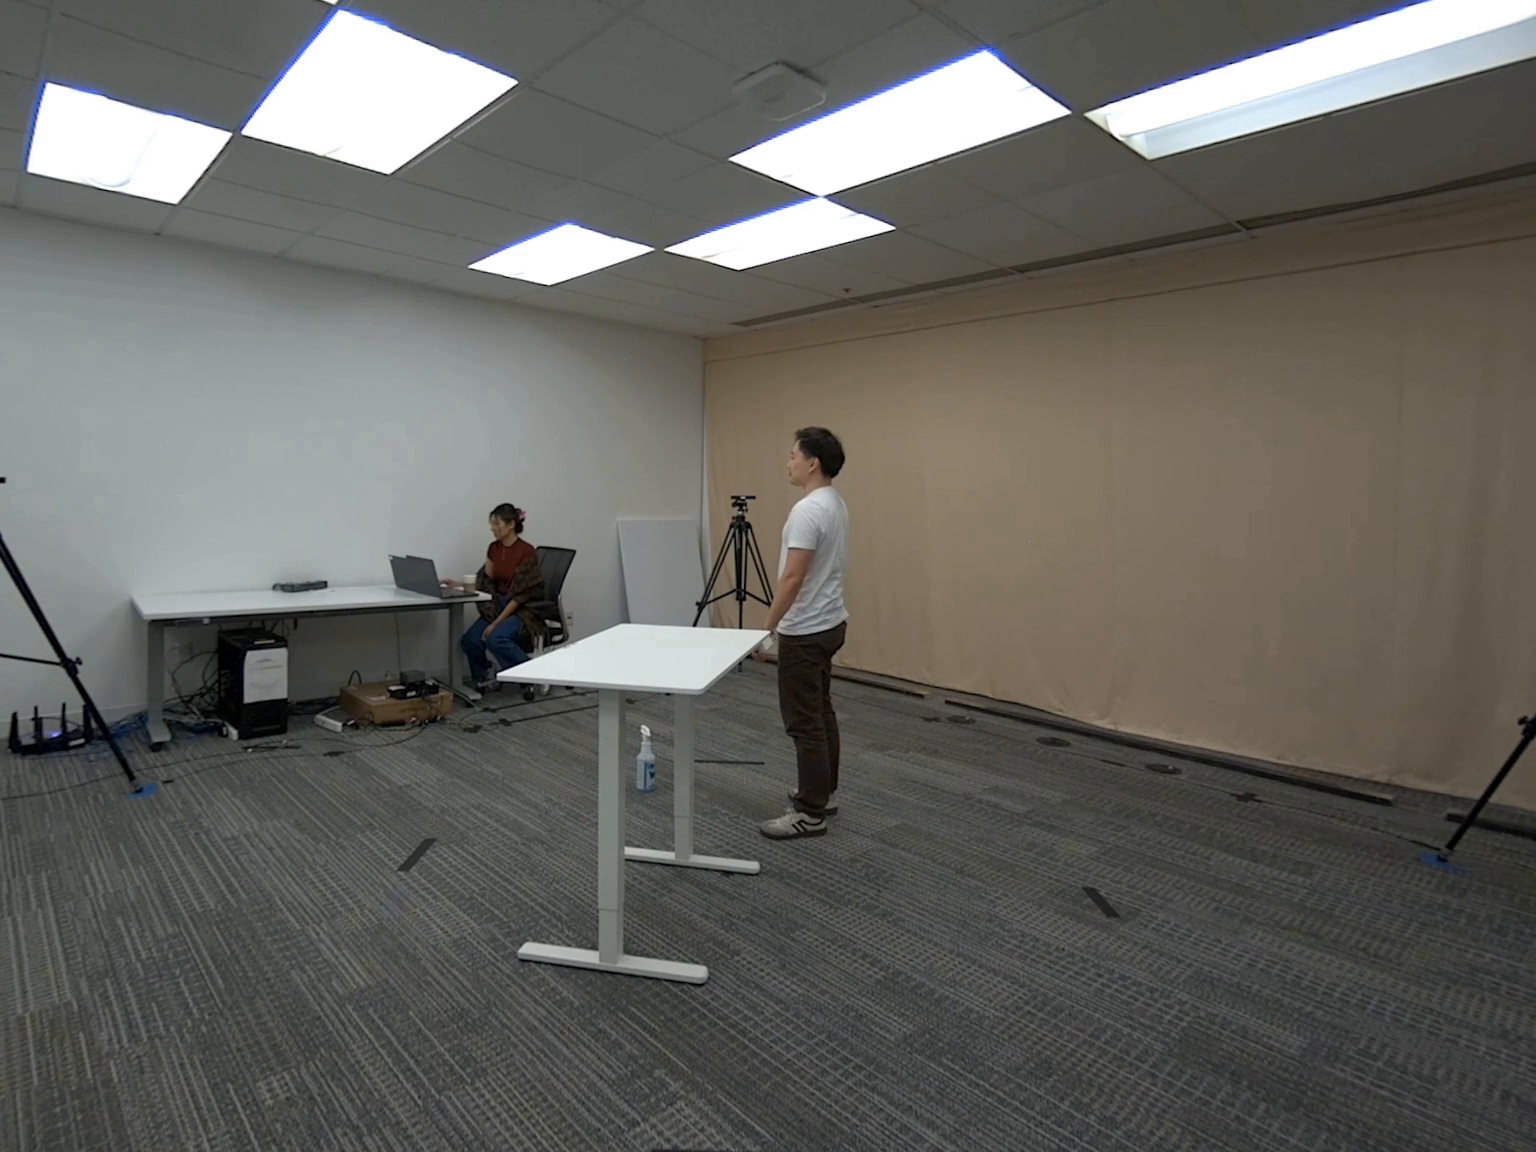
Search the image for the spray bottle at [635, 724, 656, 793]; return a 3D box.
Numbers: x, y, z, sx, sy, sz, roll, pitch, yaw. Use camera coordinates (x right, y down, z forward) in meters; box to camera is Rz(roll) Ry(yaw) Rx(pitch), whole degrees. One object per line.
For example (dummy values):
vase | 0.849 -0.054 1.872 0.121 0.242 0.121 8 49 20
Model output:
spray bottle | -0.584 0.866 3.992 0.087 0.297 0.090 0 2 -4
